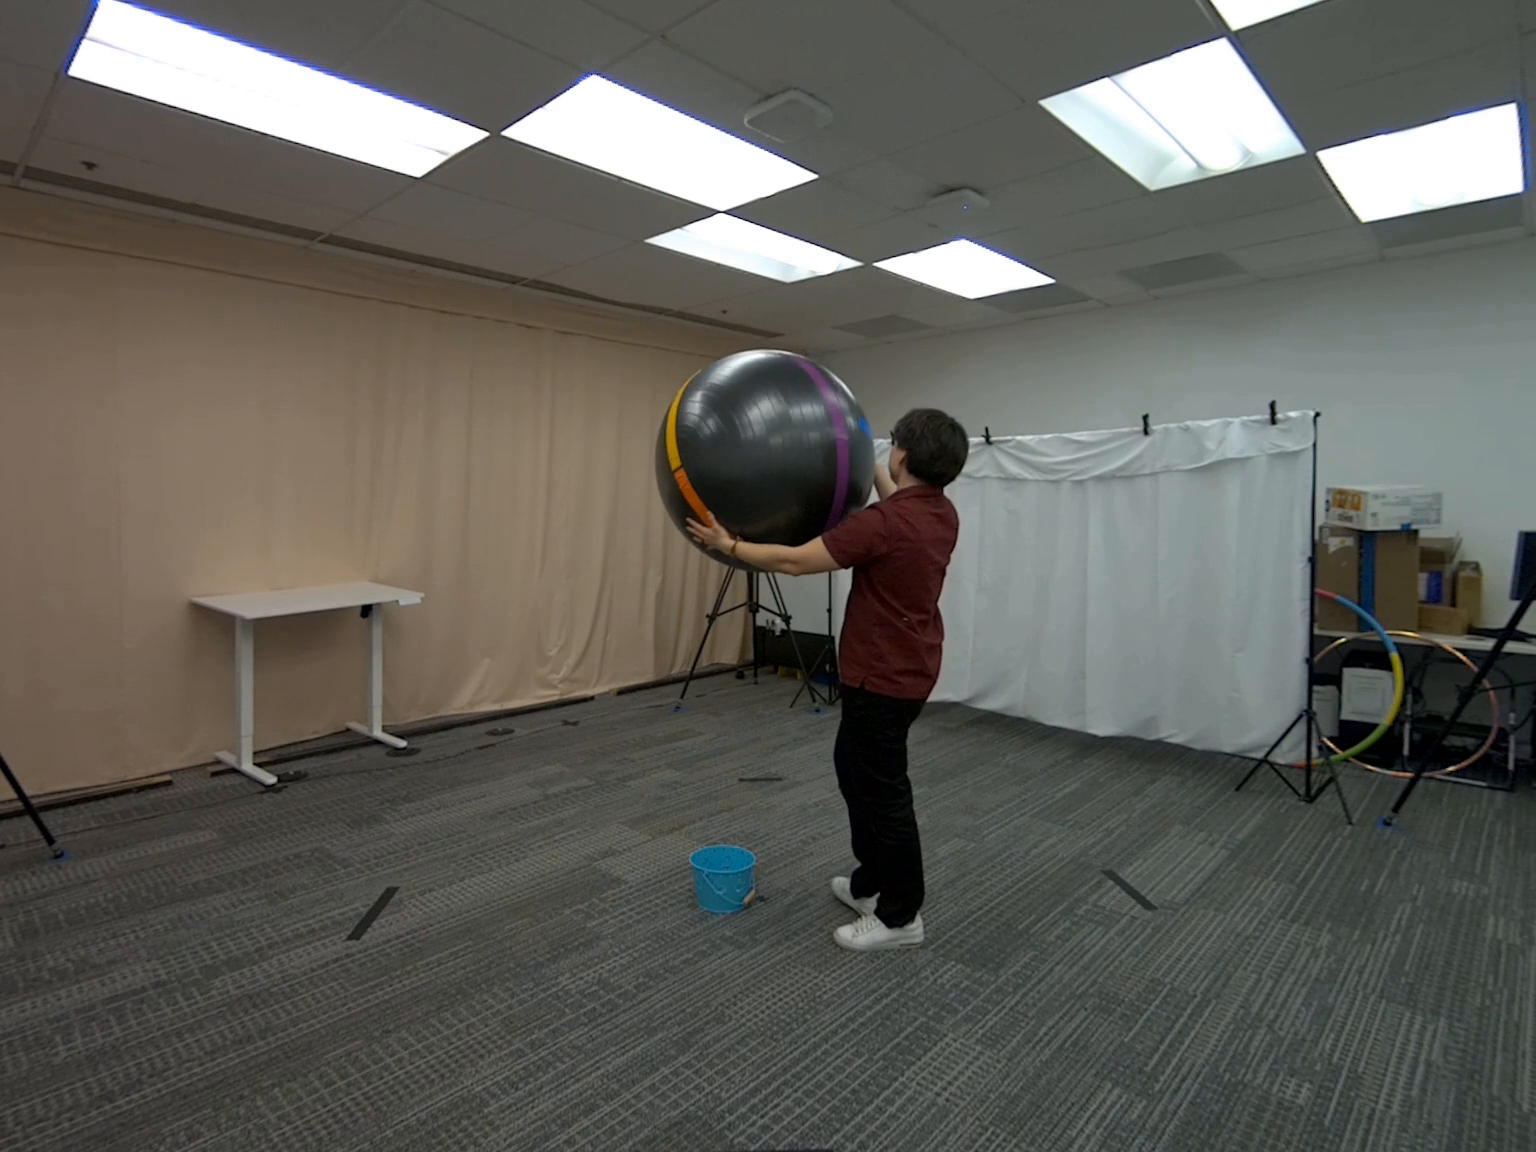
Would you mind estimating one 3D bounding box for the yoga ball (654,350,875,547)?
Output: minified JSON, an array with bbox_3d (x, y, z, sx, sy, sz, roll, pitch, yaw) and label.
[{"bbox_3d":[-0.013,-0.387,2.920,0.757,0.756,0.760,0,4,-2],"label":"yoga ball"}]
